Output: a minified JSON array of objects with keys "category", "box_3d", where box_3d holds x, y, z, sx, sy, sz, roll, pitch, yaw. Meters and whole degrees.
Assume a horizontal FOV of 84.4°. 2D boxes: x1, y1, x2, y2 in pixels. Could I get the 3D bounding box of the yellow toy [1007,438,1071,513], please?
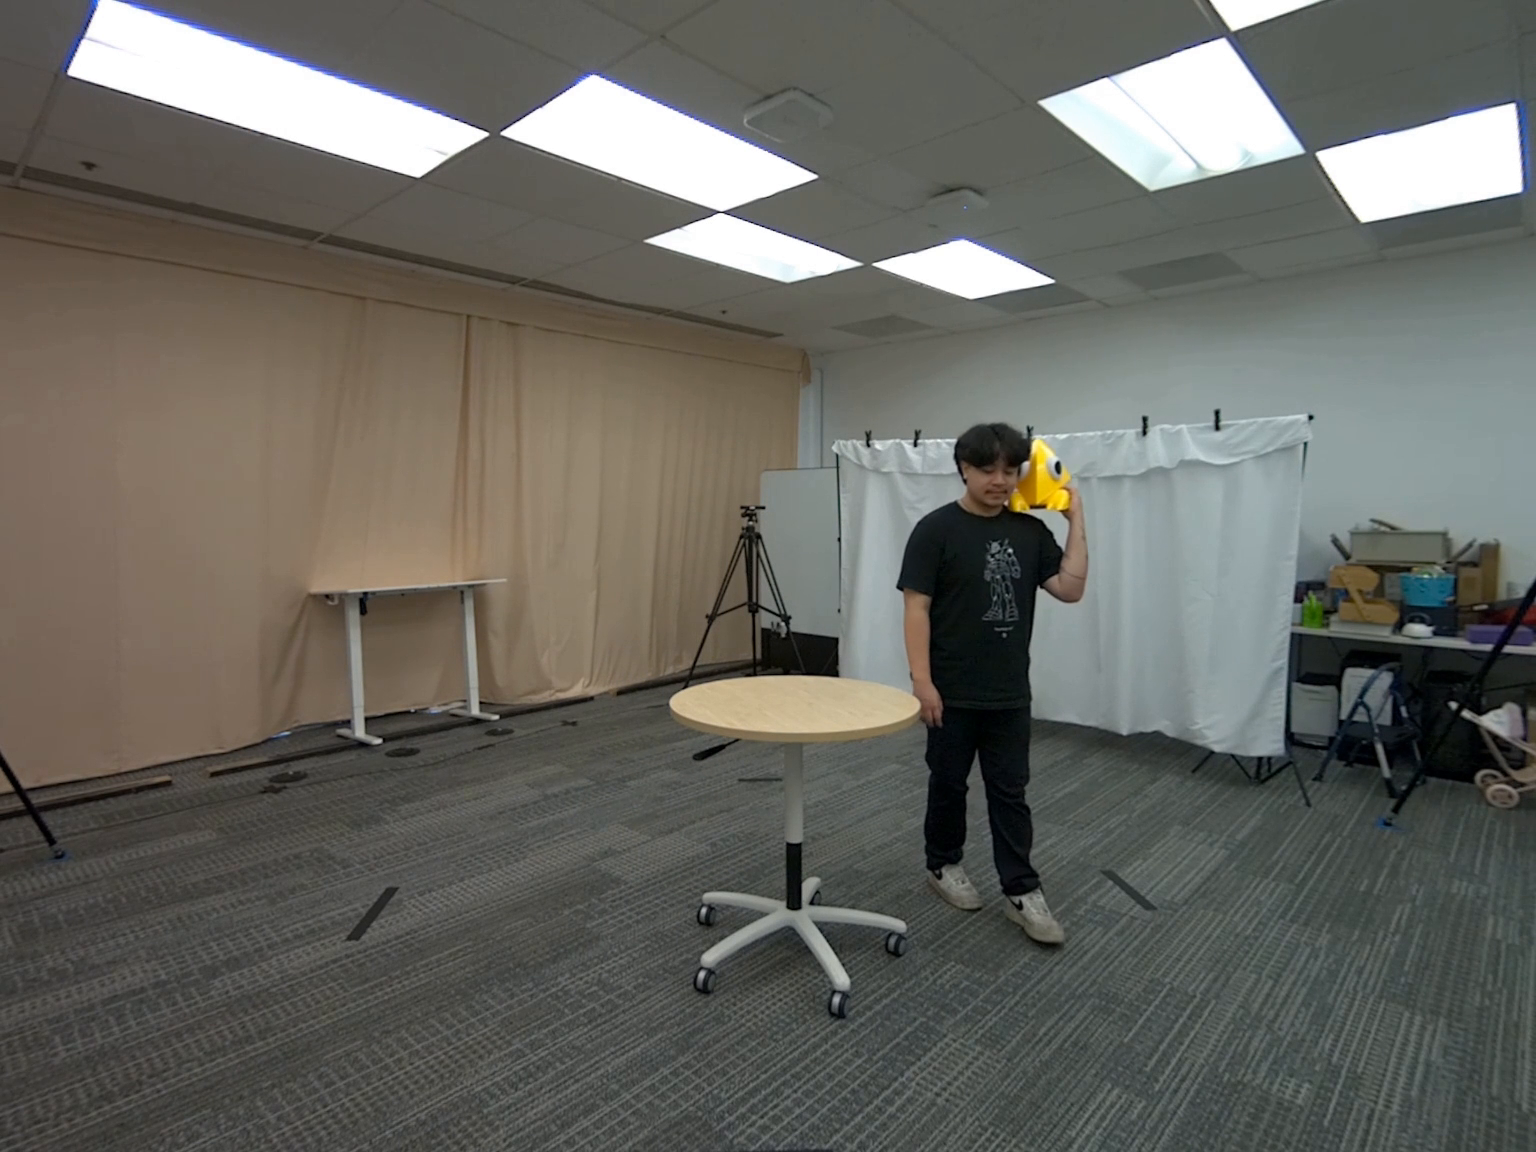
[{"category":"yellow toy","box_3d":[0.922,-0.348,2.827,0.209,0.229,0.190,-1,11,22]}]
